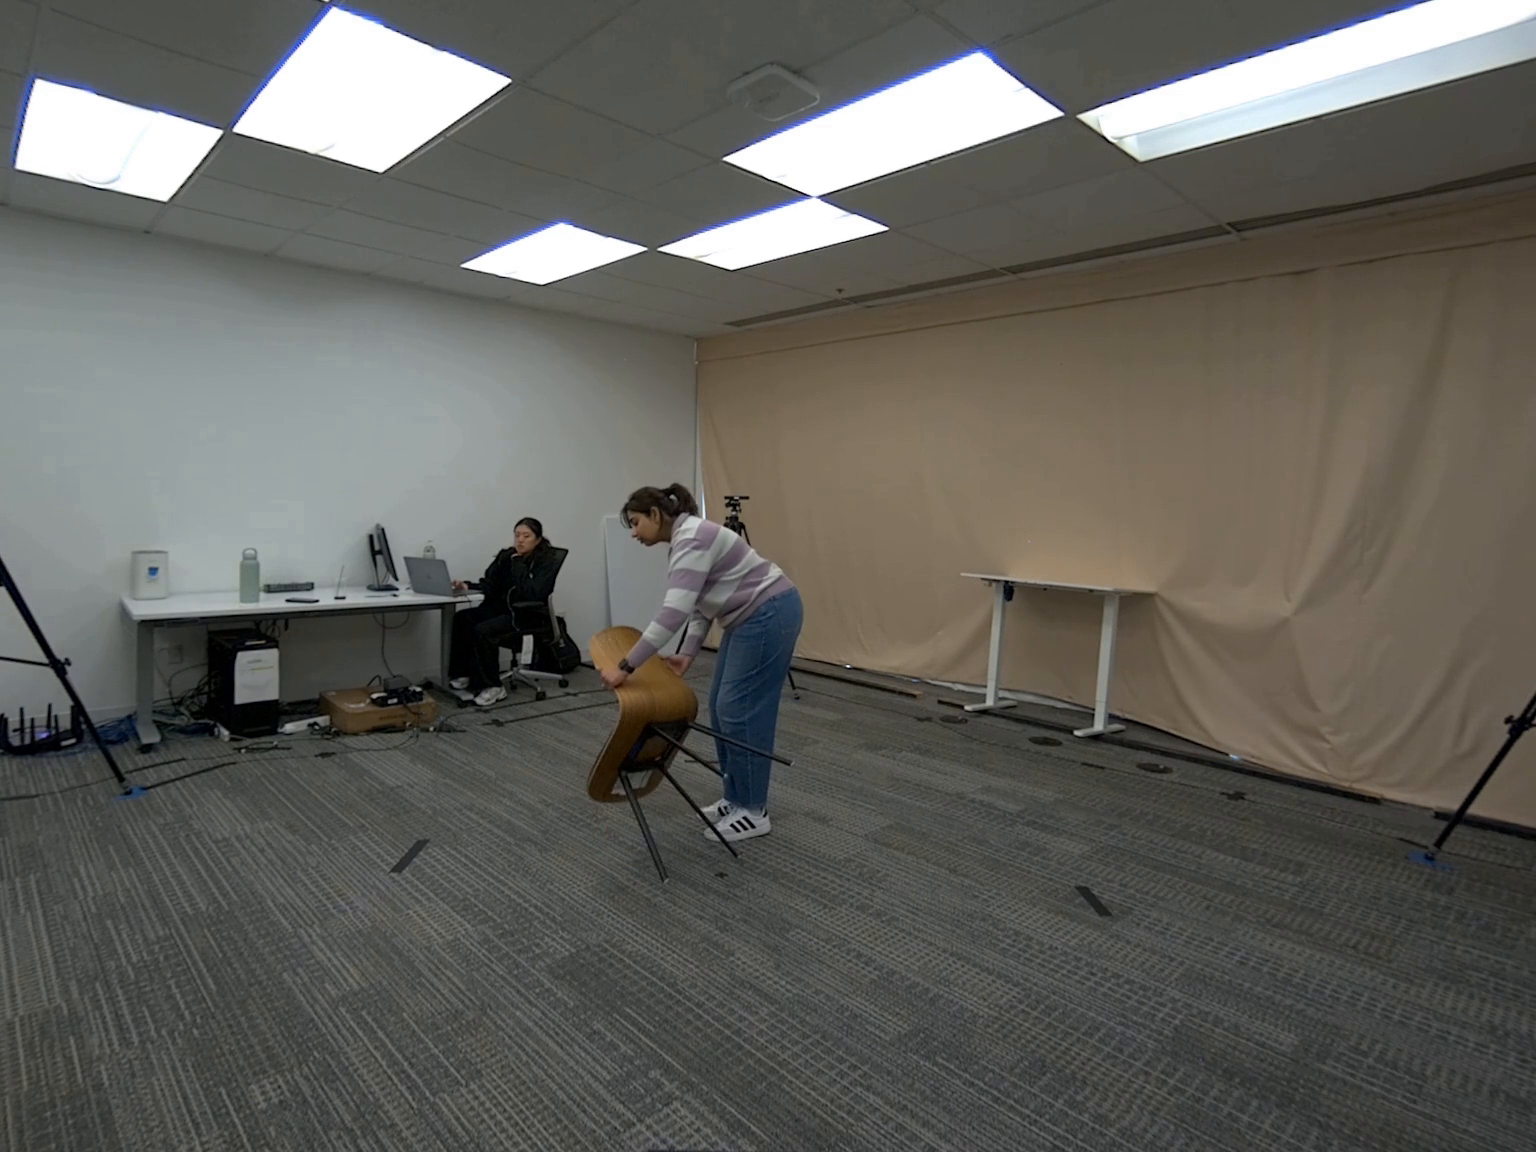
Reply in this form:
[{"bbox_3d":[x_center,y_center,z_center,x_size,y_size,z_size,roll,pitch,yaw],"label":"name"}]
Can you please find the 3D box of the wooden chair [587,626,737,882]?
[{"bbox_3d":[-0.441,0.662,3.230,0.903,0.521,0.466,40,16,31],"label":"wooden chair"}]
